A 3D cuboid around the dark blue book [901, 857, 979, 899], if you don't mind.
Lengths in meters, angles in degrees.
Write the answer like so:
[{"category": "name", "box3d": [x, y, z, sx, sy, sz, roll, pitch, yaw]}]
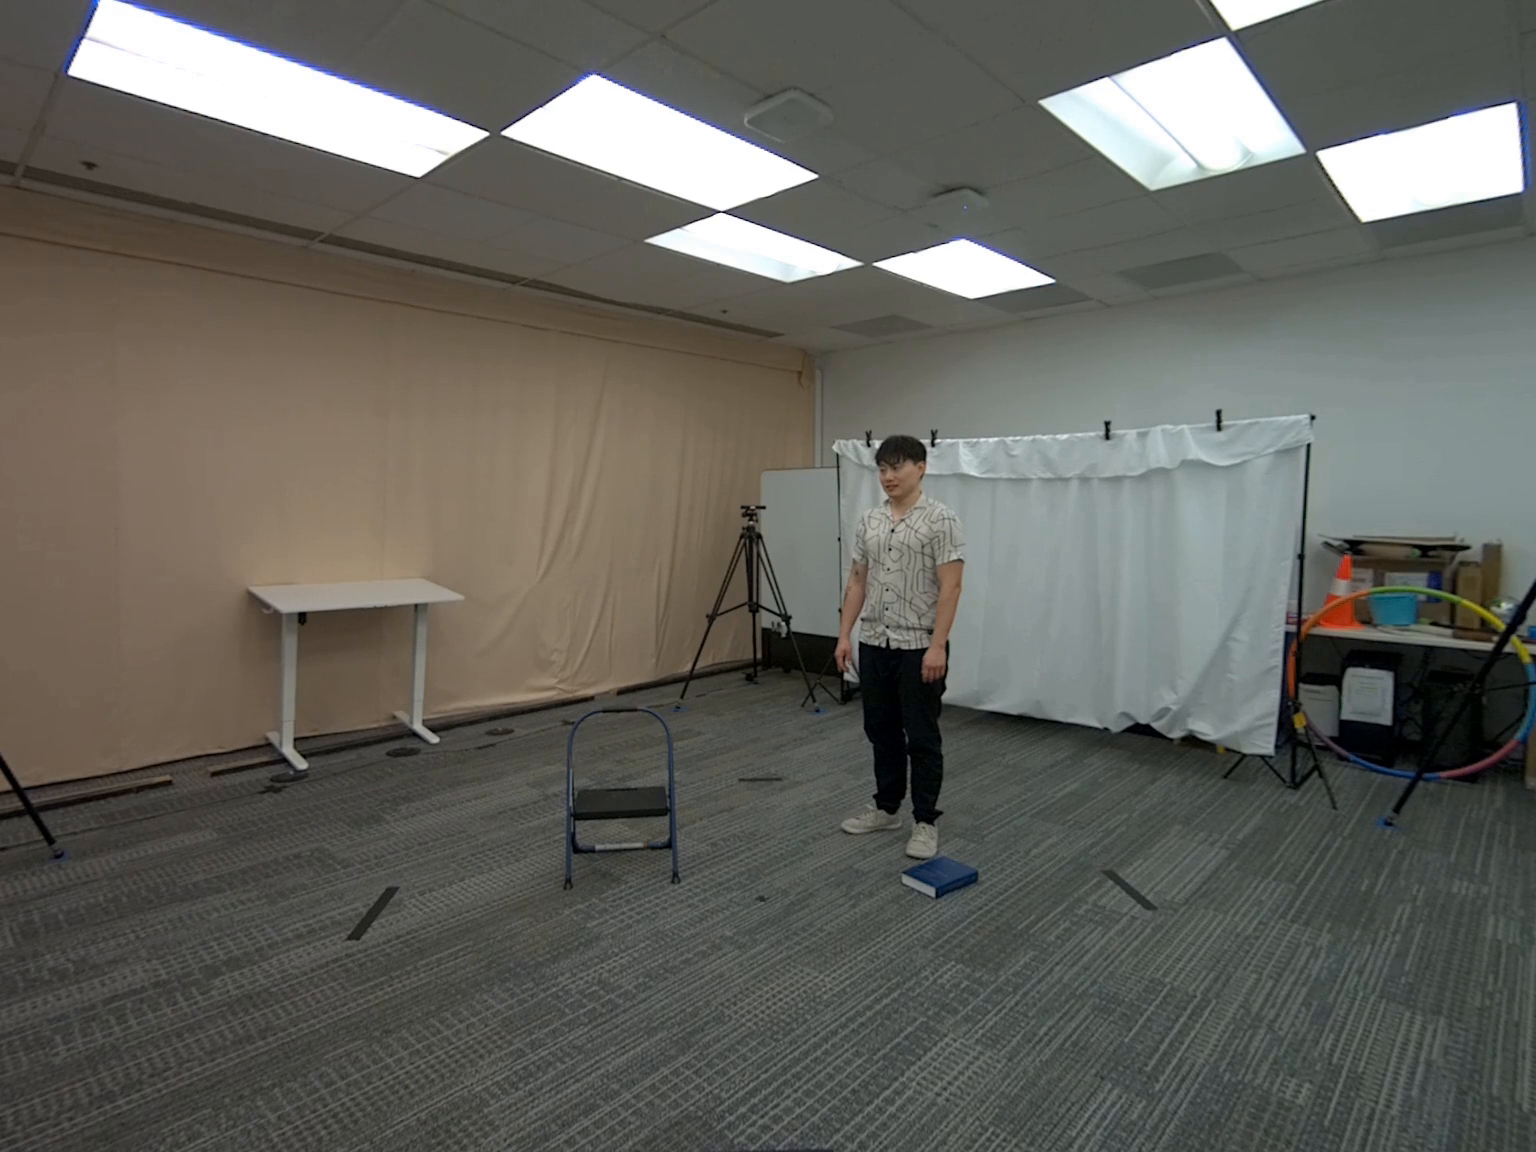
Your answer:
[{"category": "dark blue book", "box3d": [0.635, 1.108, 3.105, 0.238, 0.045, 0.169, -4, 6, -38]}]
